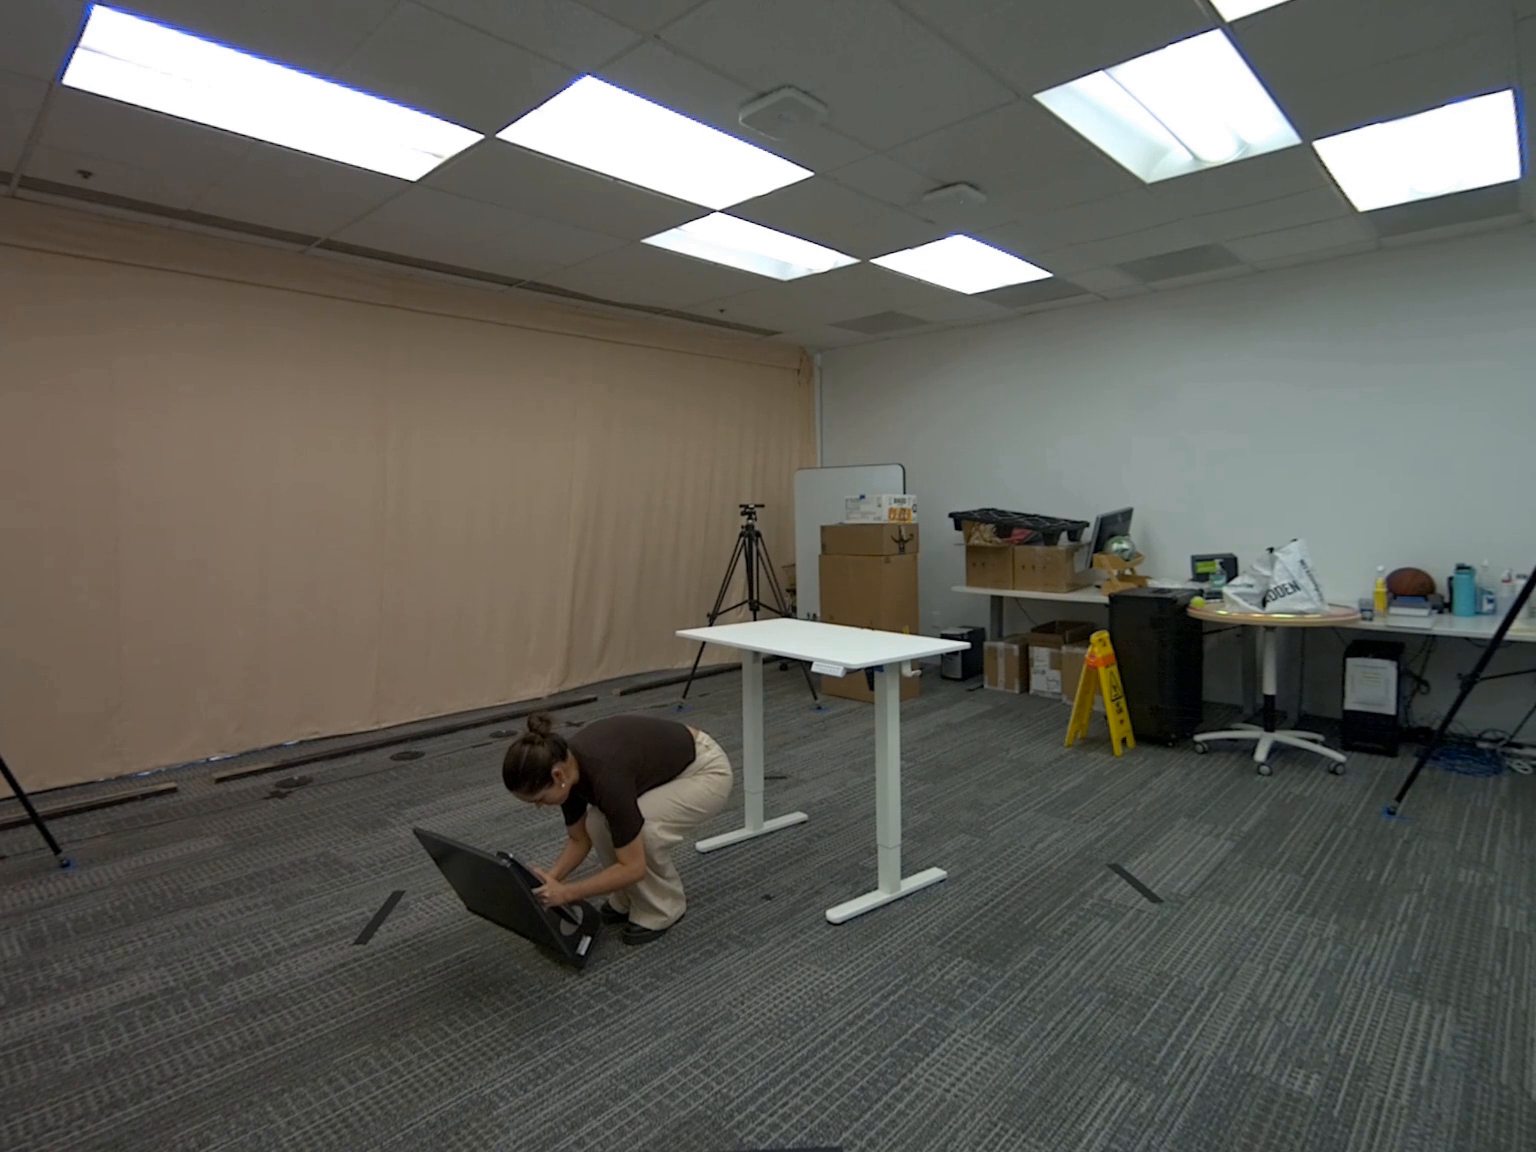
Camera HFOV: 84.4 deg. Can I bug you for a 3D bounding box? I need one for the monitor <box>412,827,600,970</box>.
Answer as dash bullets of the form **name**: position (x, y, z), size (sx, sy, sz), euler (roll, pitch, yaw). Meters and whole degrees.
- **monitor**: position (-0.754, 0.937, 2.499), size (0.555, 0.507, 0.187), euler (-5, 42, 42)
